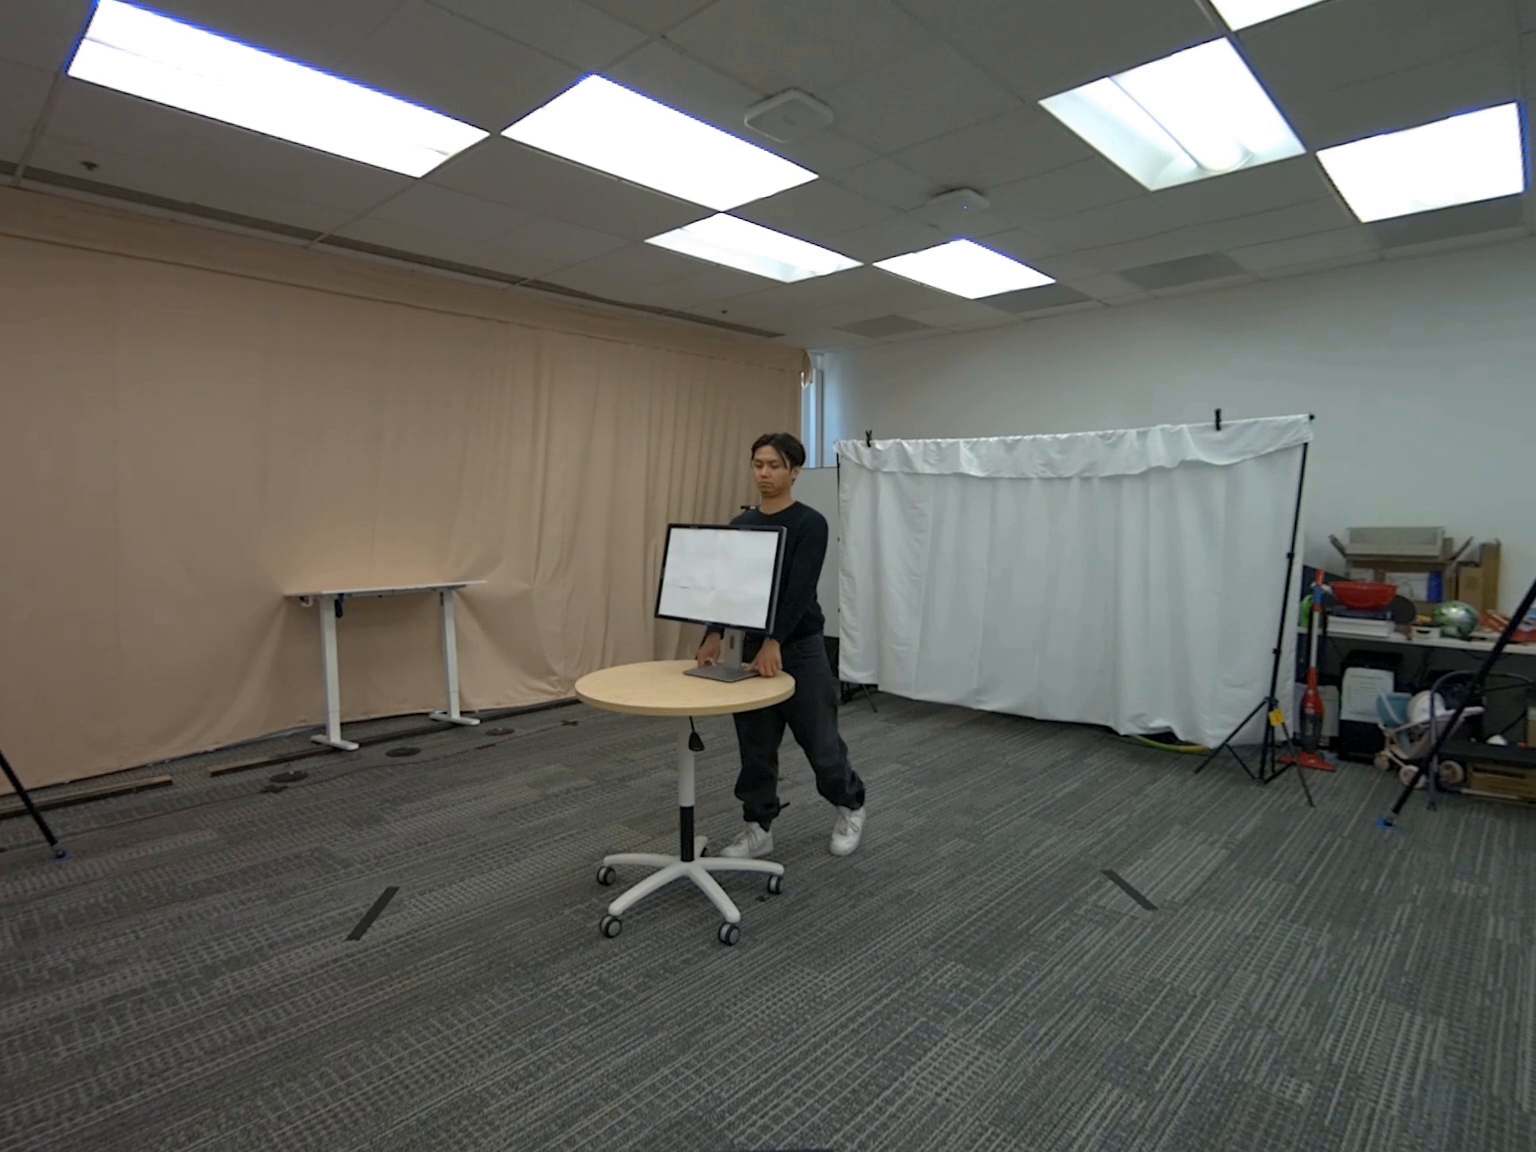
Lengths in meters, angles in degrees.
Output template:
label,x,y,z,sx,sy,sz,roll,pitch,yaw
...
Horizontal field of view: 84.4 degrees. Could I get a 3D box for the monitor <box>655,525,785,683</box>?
label,x,y,z,sx,sy,sz,roll,pitch,yaw
monitor,-0.158,0.088,3.042,0.557,0.521,0.181,3,5,41
